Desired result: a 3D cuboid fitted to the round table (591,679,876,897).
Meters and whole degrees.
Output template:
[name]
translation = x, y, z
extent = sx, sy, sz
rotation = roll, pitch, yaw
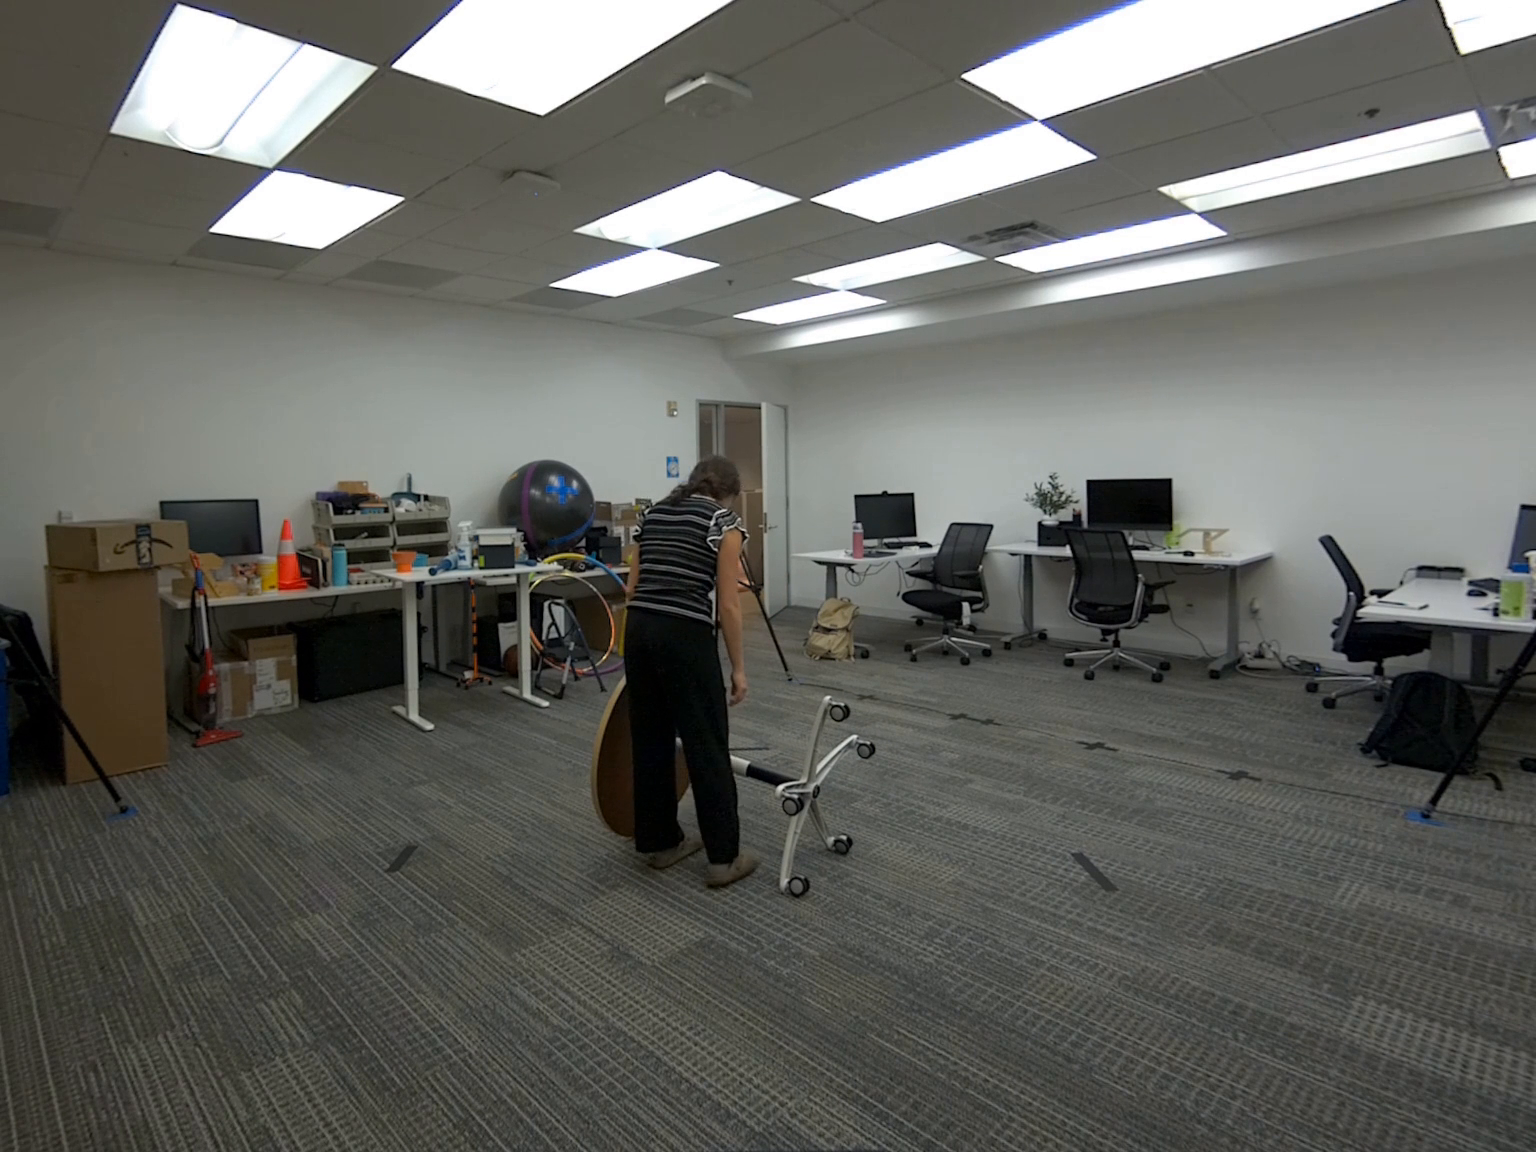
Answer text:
[round table]
translation = -0.104, 0.711, 3.178
extent = 0.817, 0.759, 0.747
rotation = 10, 10, 29
